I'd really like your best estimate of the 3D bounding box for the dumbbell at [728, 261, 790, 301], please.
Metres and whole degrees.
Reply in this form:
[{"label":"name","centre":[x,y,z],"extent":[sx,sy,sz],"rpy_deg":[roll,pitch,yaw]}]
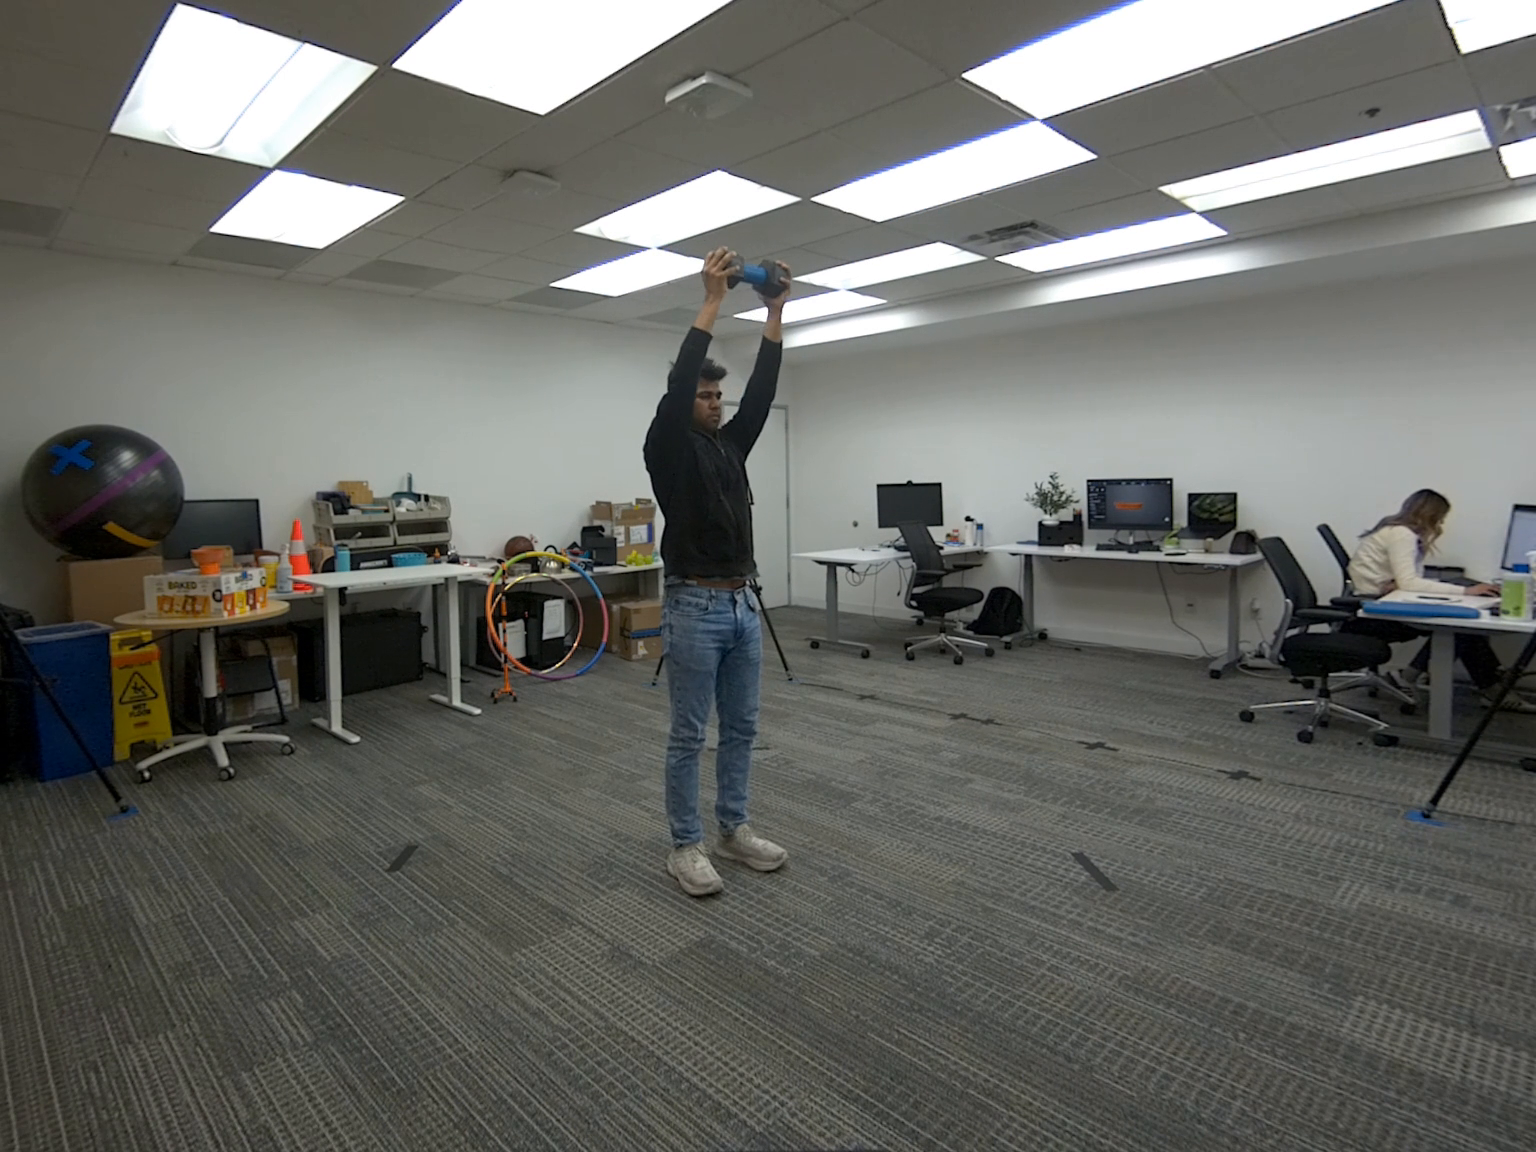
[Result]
[{"label":"dumbbell","centre":[-0.061,-1.006,2.859],"extent":[0.286,0.107,0.127],"rpy_deg":[-8,37,-46]}]
